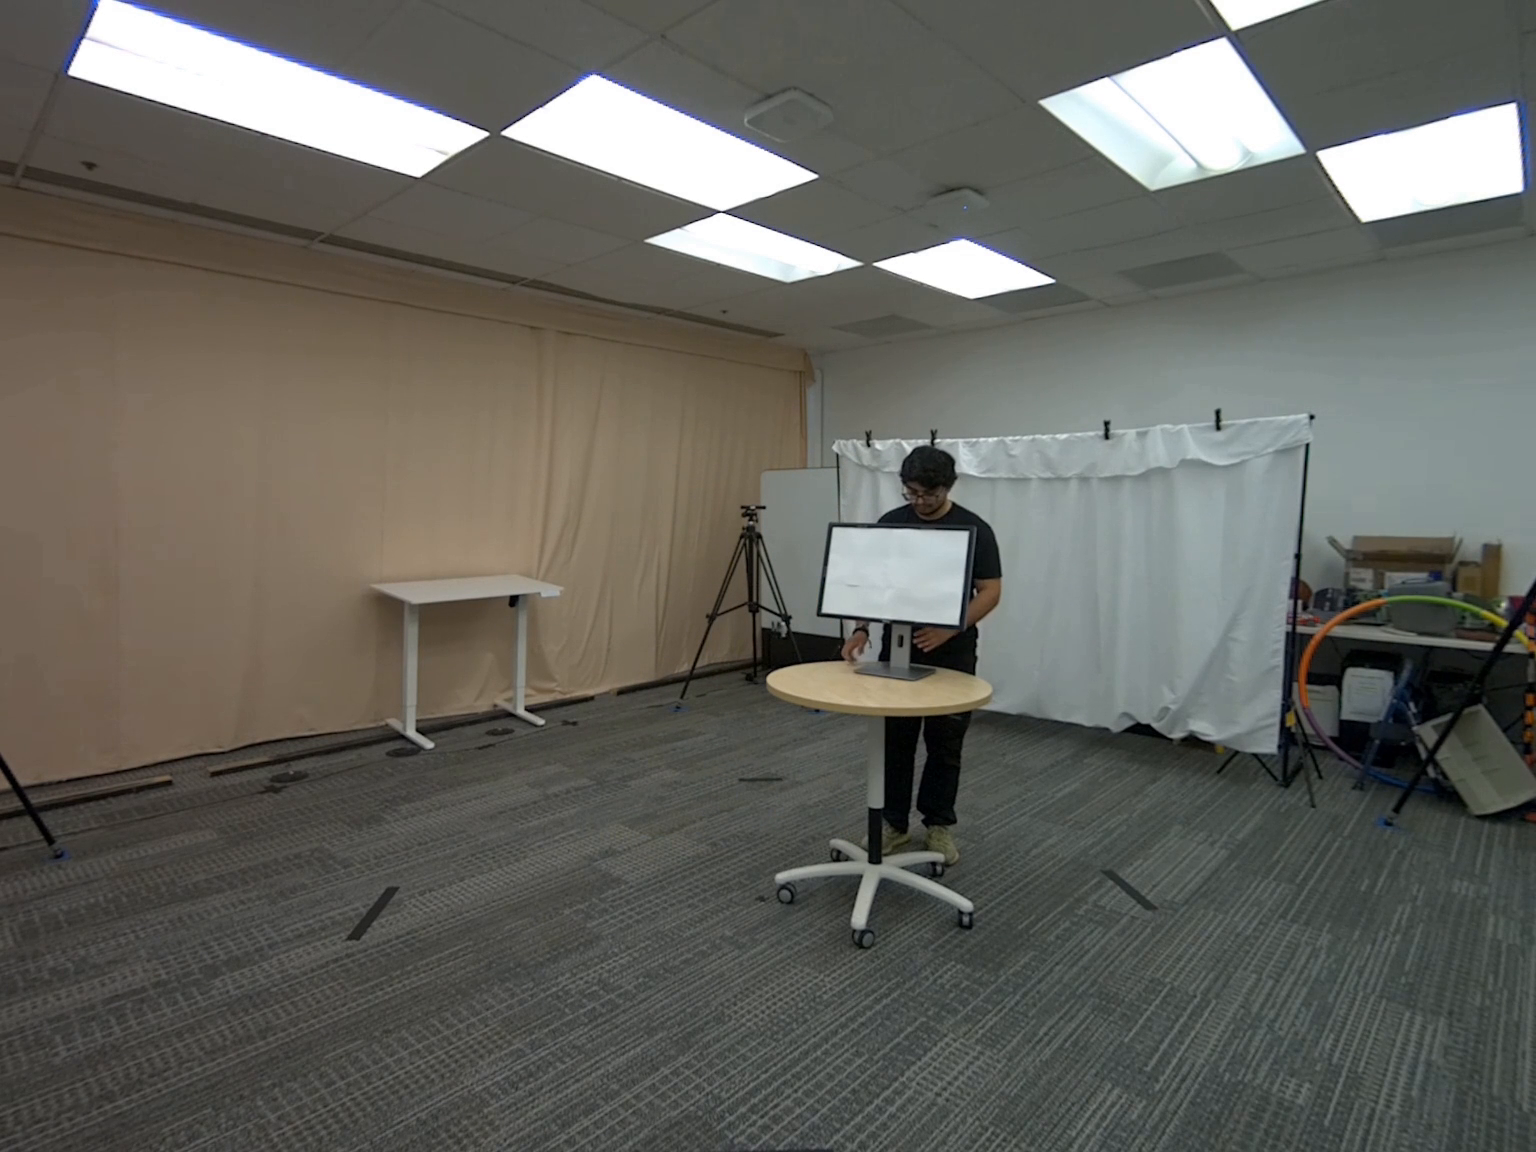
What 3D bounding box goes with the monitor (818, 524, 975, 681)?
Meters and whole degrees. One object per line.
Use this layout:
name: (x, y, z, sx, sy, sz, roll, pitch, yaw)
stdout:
monitor: (0.486, 0.087, 3.083, 0.583, 0.555, 0.203, 3, -3, 33)
